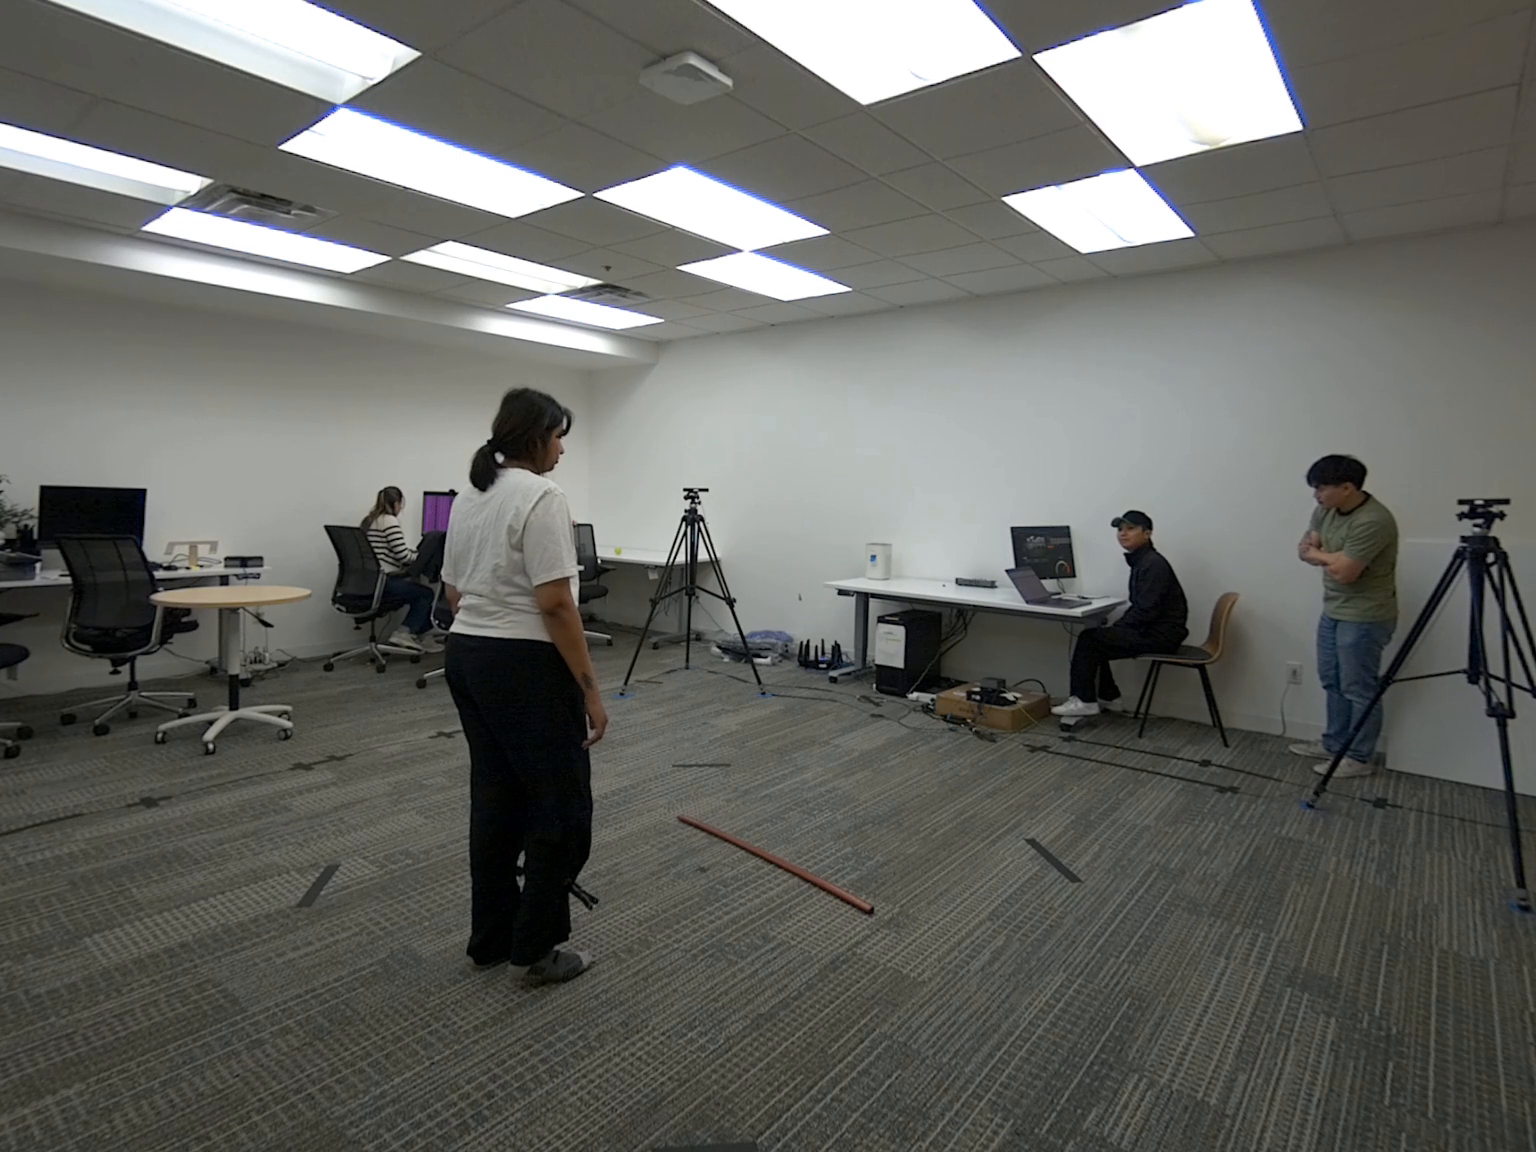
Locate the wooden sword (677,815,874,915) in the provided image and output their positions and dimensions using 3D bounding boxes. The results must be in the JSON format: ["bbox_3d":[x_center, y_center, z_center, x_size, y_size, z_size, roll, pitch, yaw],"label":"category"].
[{"bbox_3d":[-0.017,1.048,3.191,1.060,0.023,0.051,7,34,47],"label":"wooden sword"}]
